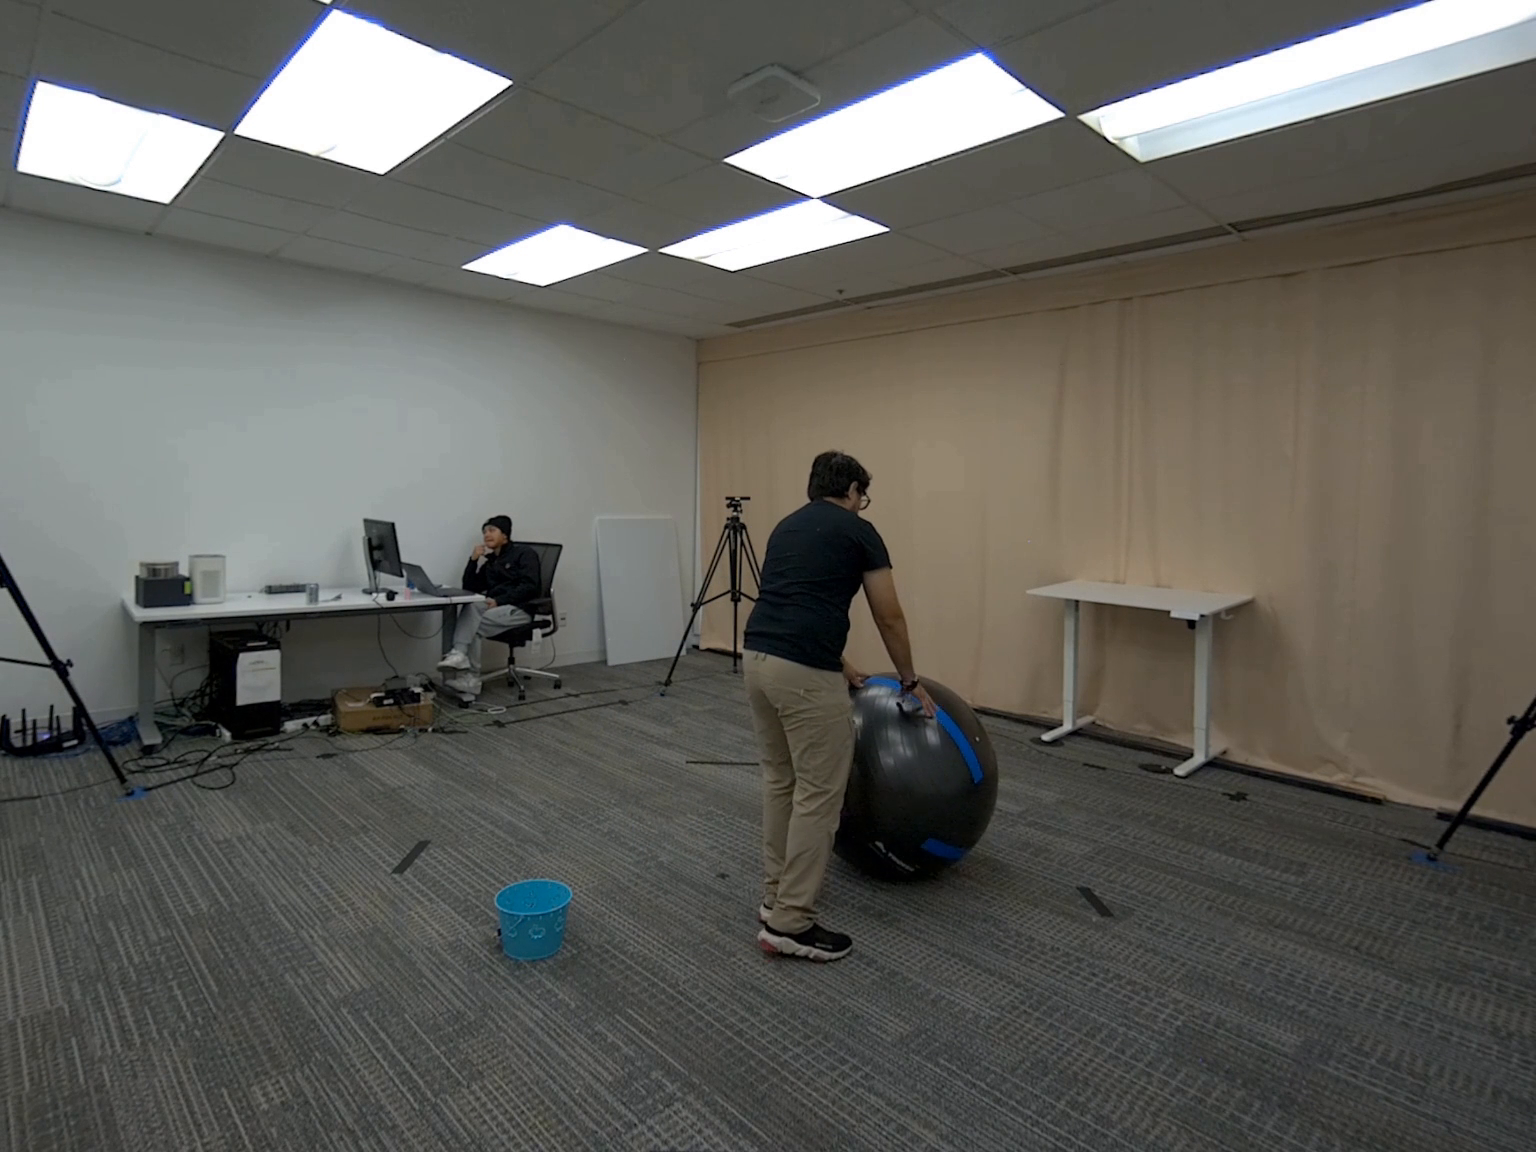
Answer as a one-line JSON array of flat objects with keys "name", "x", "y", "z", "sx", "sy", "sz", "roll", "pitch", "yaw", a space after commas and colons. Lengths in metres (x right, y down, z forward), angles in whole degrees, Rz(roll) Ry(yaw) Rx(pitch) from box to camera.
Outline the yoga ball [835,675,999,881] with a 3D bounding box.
[{"name": "yoga ball", "x": 0.479, "y": 0.749, "z": 3.216, "sx": 0.757, "sy": 0.756, "sz": 0.761, "roll": 1, "pitch": 4, "yaw": -1}]
